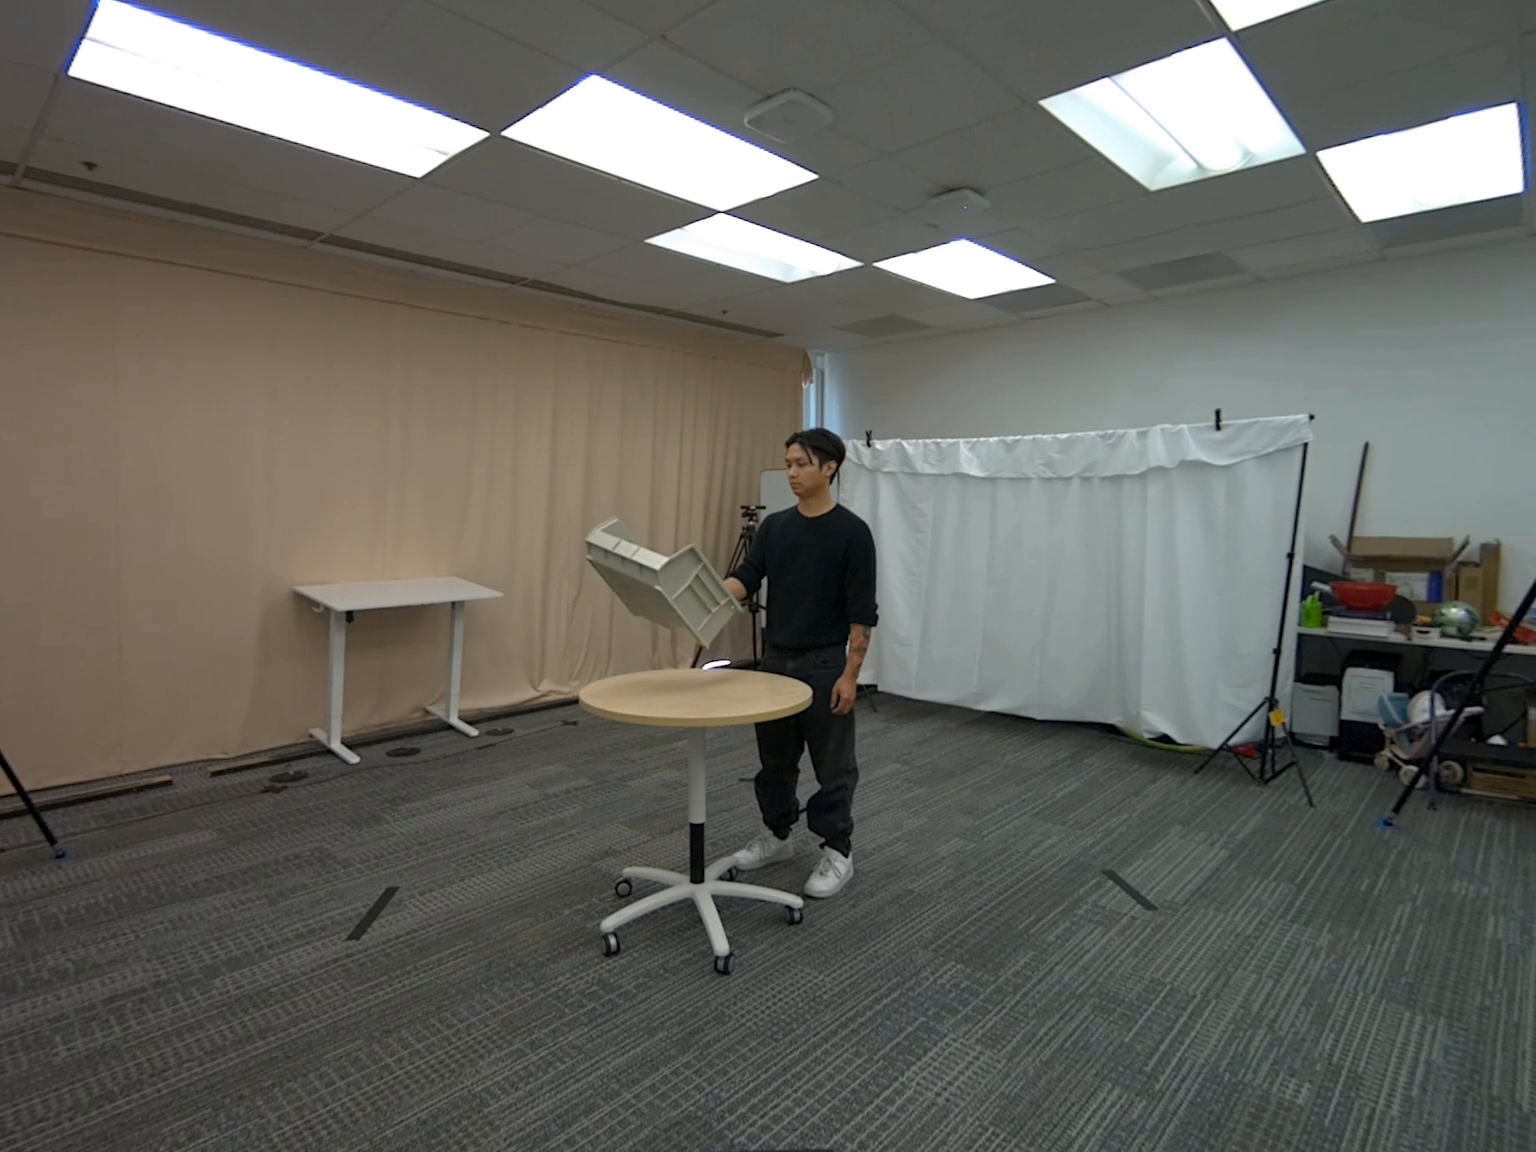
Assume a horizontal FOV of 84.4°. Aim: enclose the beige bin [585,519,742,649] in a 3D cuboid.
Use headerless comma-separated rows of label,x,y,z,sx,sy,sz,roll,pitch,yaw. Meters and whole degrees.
beige bin,-0.357,0.014,2.751,0.438,0.188,0.365,18,-29,43
